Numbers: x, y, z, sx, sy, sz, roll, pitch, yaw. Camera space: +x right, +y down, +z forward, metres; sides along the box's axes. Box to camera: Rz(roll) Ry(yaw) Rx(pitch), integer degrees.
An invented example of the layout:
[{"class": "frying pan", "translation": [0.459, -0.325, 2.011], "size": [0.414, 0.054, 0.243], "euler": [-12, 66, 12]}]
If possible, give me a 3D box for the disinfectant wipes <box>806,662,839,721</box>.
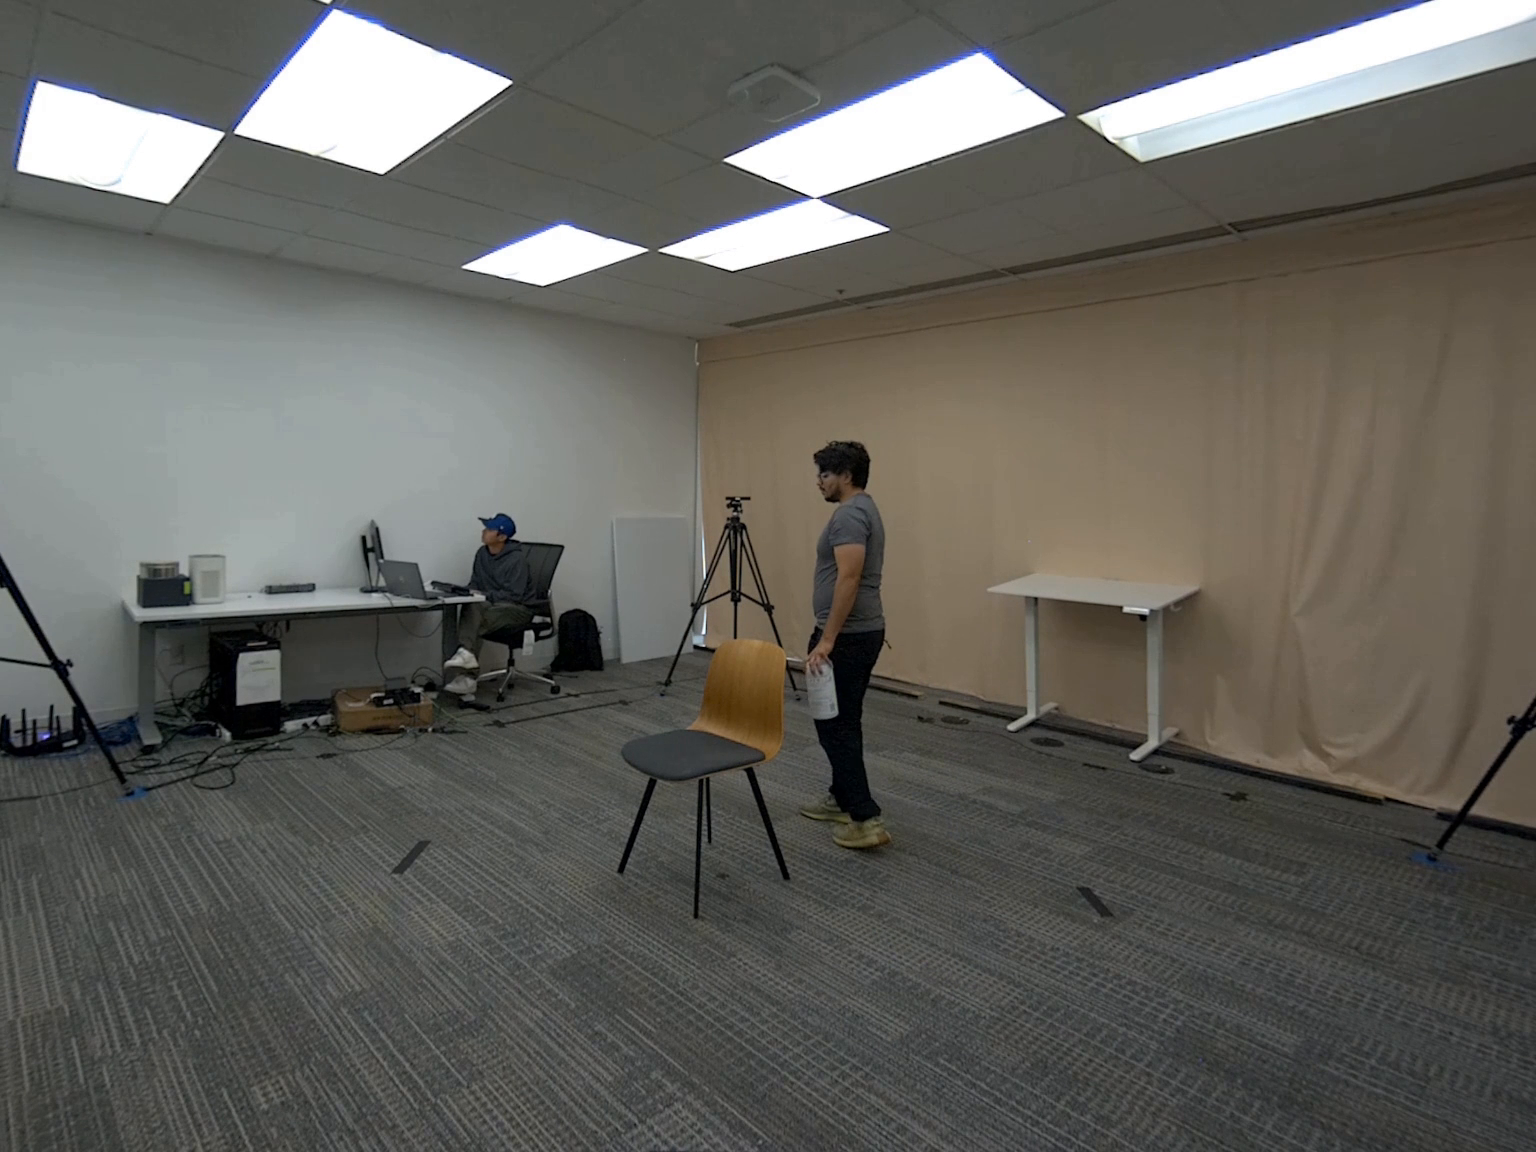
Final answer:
[{"class": "disinfectant wipes", "translation": [0.198, 0.447, 3.312], "size": [0.118, 0.216, 0.118], "euler": [-7, 5, -1]}]
